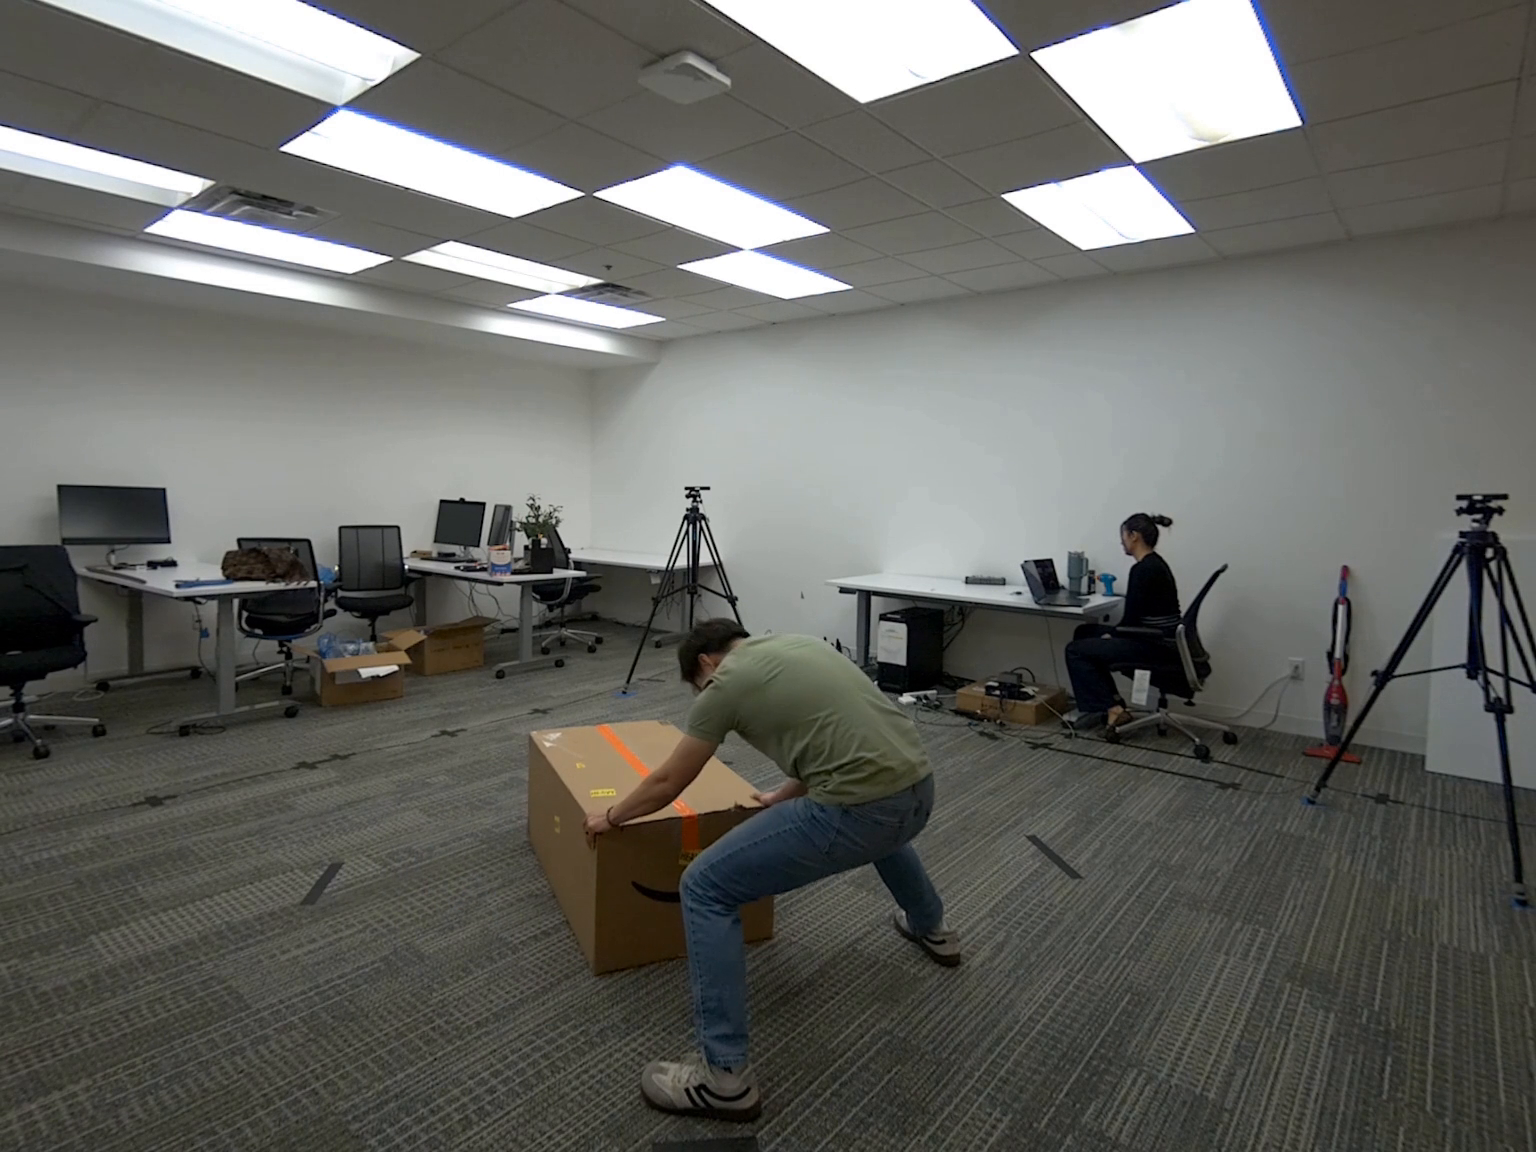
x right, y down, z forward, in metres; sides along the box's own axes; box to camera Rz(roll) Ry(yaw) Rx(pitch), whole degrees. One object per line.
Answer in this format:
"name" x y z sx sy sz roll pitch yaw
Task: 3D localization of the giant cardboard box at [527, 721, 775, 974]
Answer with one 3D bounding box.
"giant cardboard box" -0.470 0.860 2.973 0.564 0.424 1.055 -1 6 -26
